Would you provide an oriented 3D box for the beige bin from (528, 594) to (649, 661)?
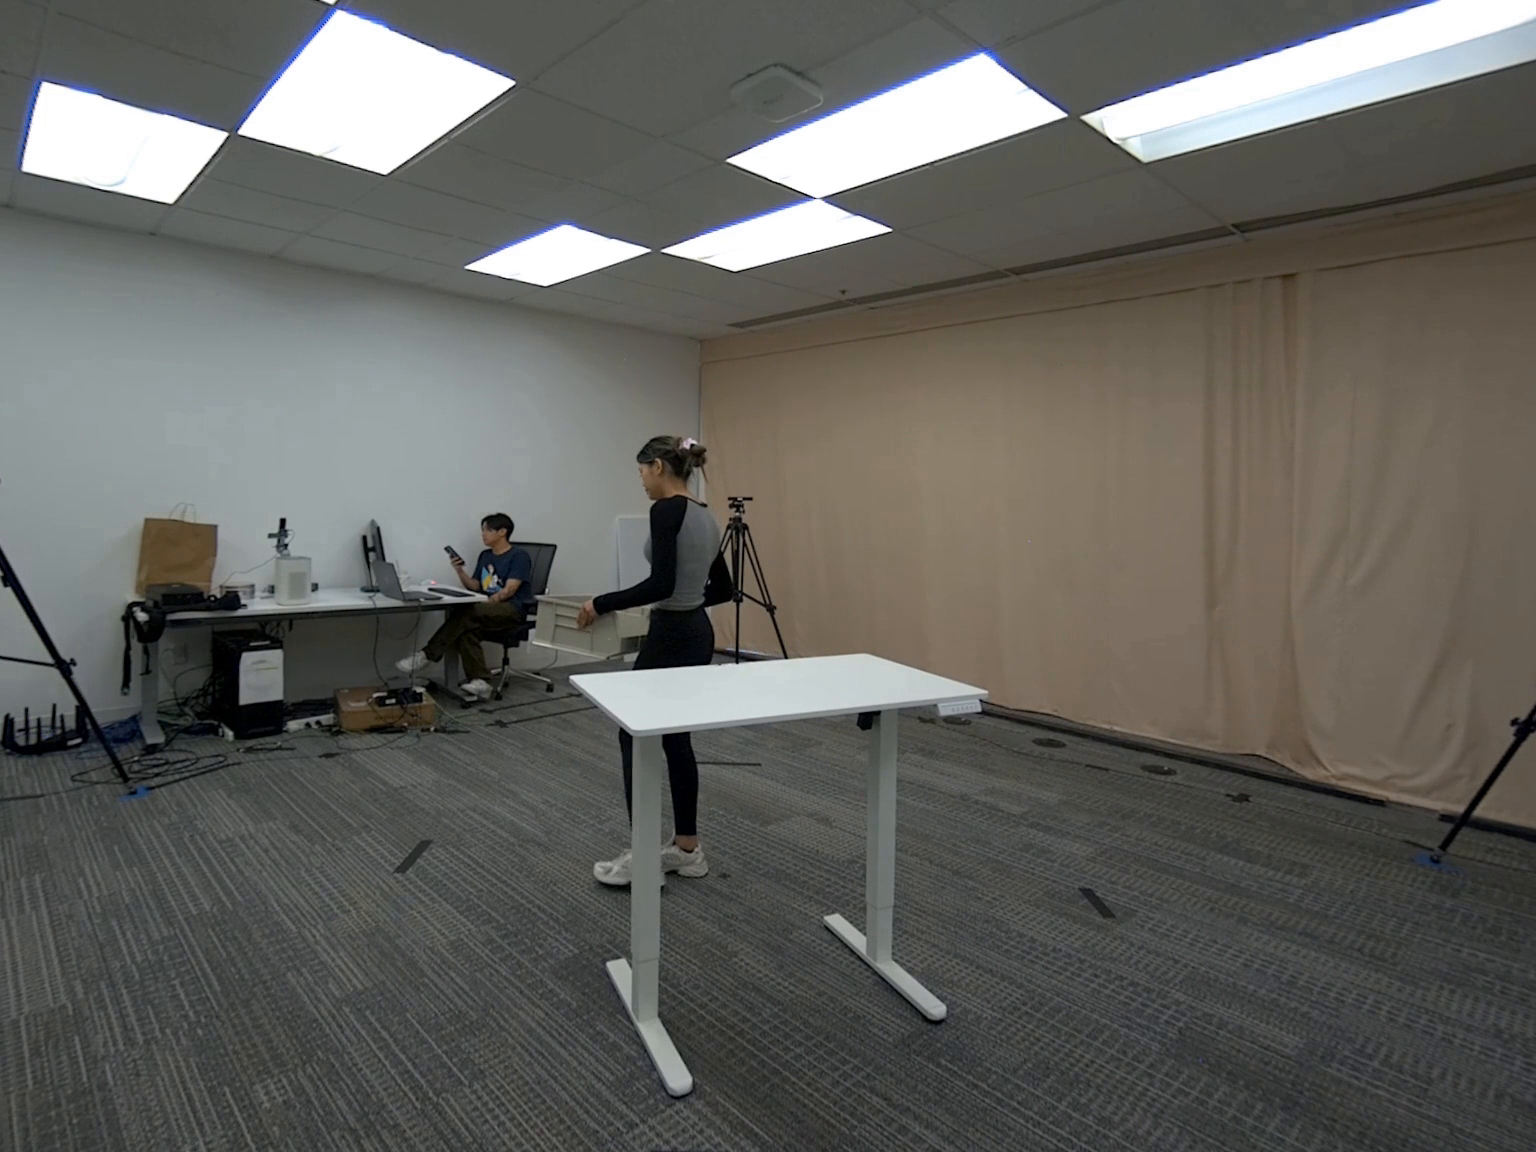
[{"bbox_3d":[-0.627,0.189,3.224,0.384,0.189,0.416,7,3,20],"label":"beige bin"}]
